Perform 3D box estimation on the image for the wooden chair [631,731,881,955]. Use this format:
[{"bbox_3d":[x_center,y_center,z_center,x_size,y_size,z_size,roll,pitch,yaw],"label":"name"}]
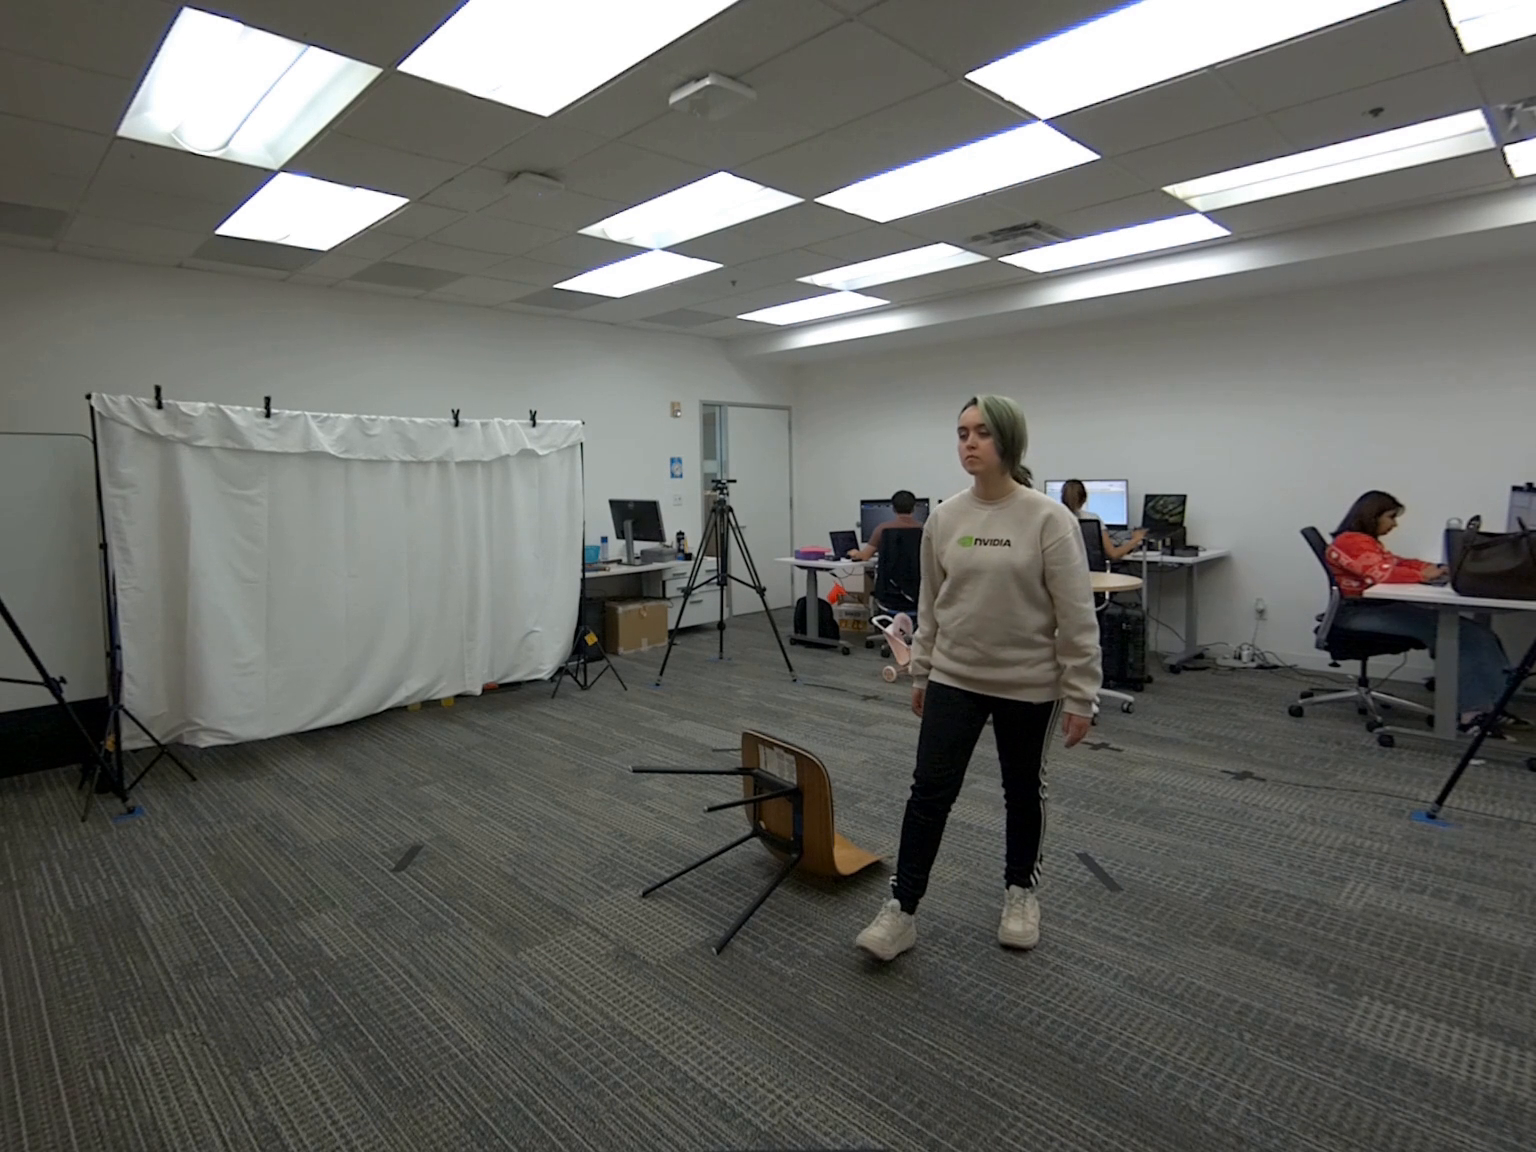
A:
[{"bbox_3d":[0.030,0.808,2.916,0.854,0.521,0.492,-4,5,-37],"label":"wooden chair"}]
